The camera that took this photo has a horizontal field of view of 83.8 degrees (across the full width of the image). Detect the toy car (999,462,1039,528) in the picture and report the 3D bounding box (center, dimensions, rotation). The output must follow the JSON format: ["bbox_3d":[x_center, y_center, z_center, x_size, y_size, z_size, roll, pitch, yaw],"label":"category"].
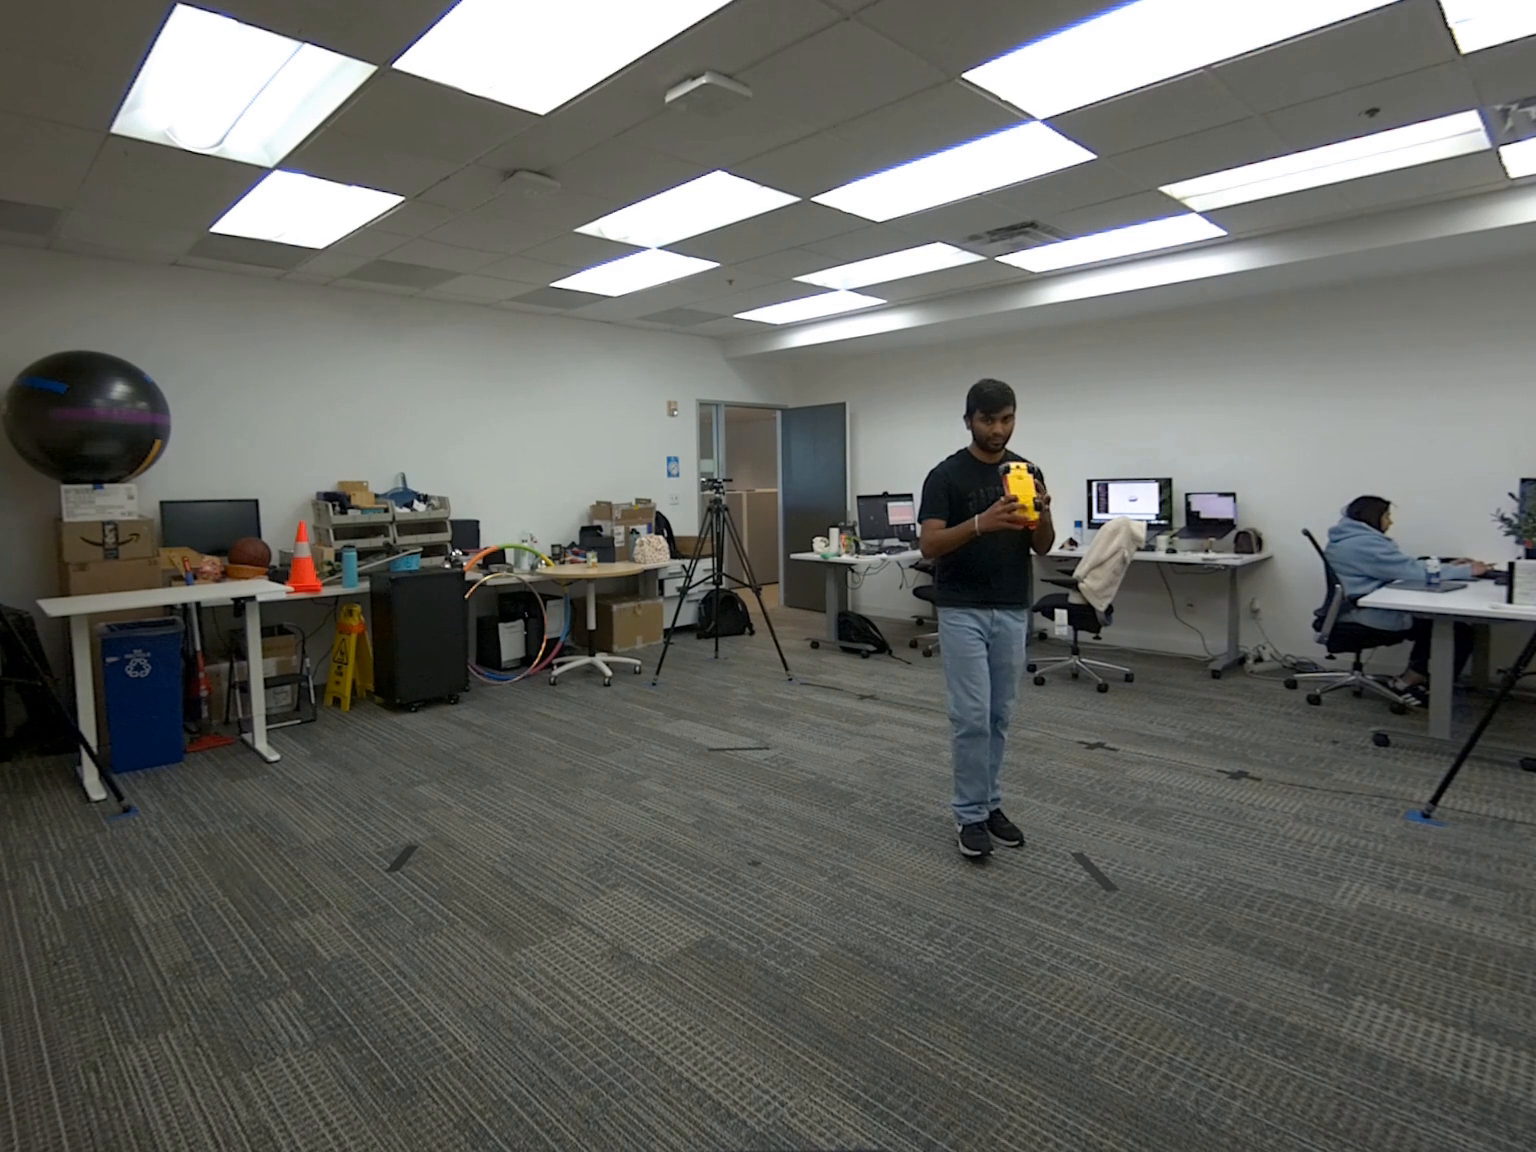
[{"bbox_3d":[0.875,-0.279,2.947,0.130,0.258,0.082,2,-17,2],"label":"toy car"}]
